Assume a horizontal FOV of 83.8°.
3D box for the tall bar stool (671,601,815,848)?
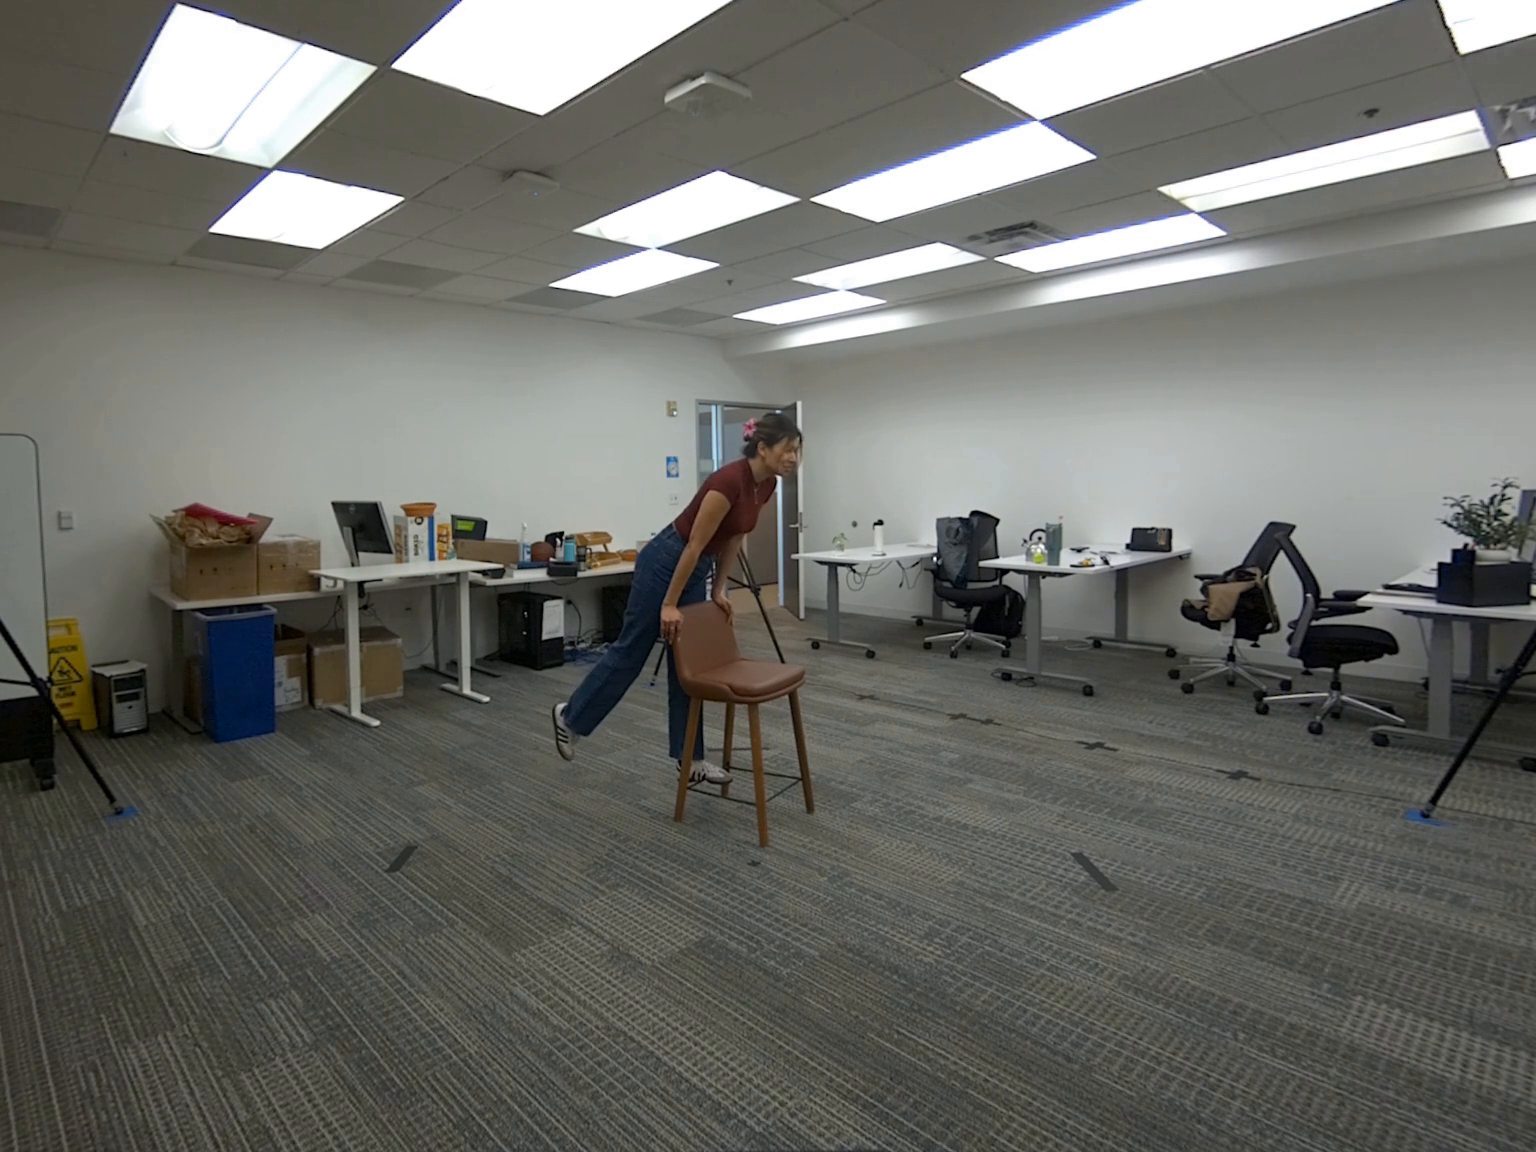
[{"bbox_3d":[-0.116,0.562,3.513,0.480,0.888,0.445,-1,2,33],"label":"tall bar stool"}]
